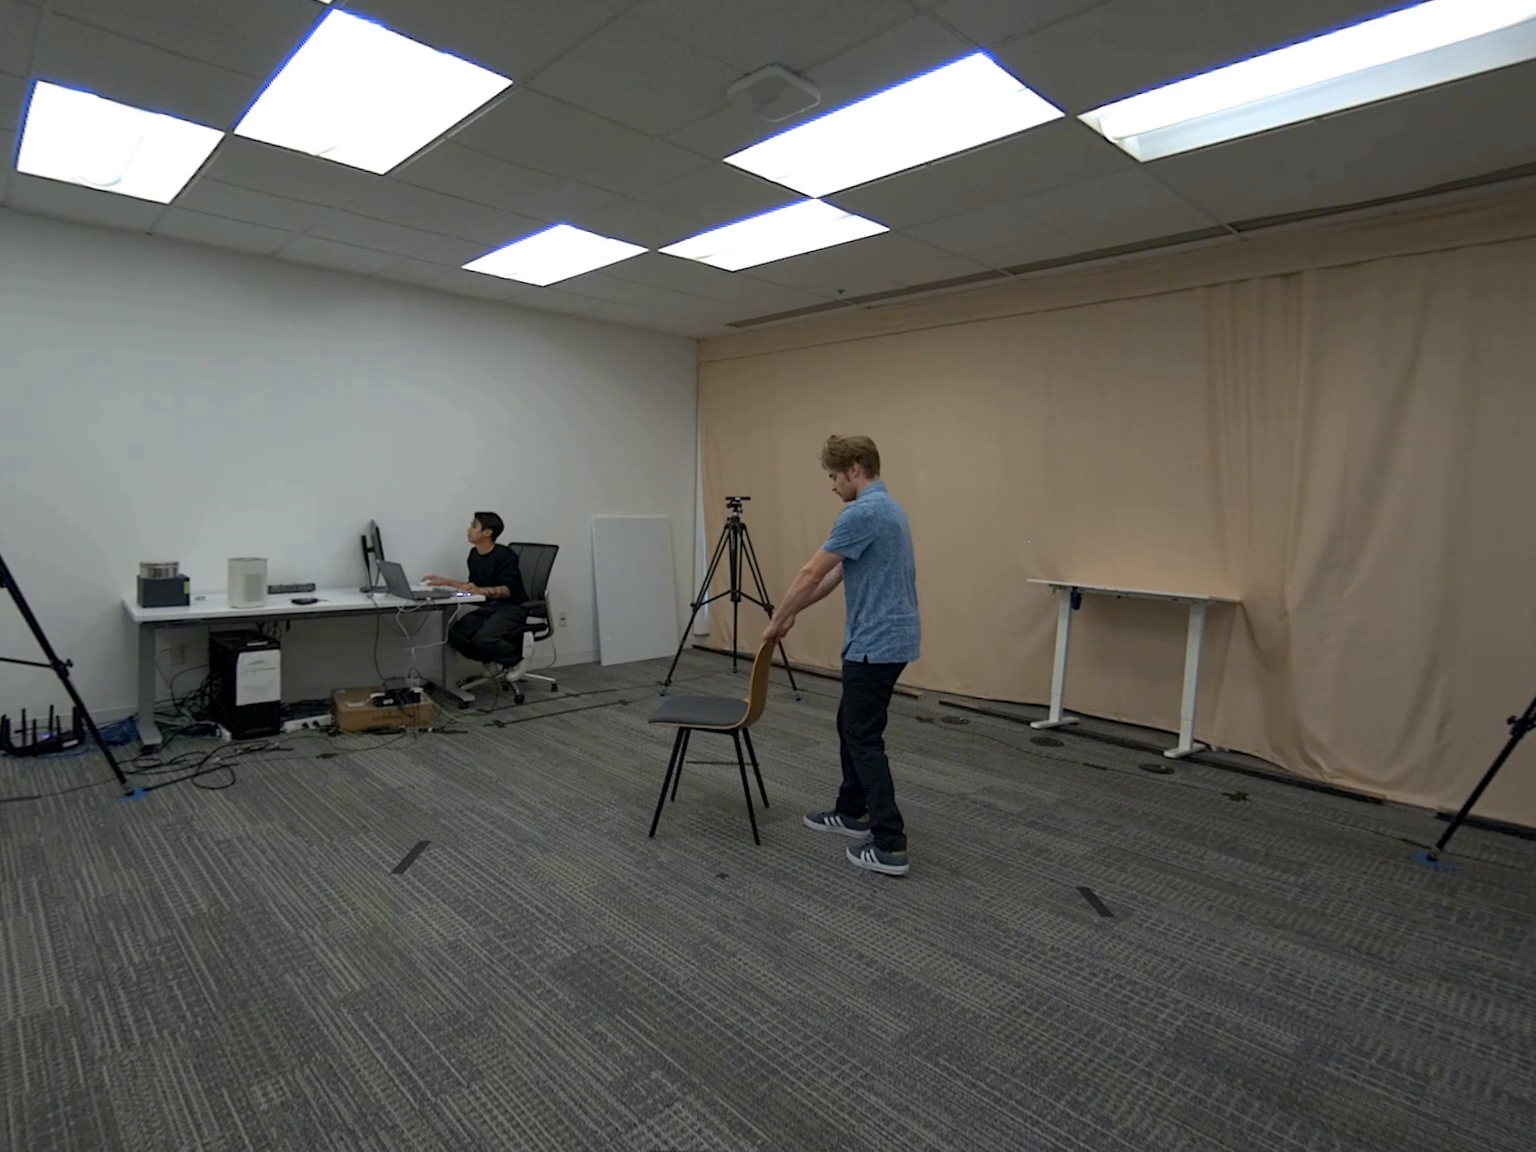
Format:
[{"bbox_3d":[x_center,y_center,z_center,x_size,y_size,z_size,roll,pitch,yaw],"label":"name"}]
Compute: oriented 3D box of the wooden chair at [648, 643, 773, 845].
[{"bbox_3d":[-0.242,0.629,3.593,0.526,0.875,0.476,6,4,6],"label":"wooden chair"}]
